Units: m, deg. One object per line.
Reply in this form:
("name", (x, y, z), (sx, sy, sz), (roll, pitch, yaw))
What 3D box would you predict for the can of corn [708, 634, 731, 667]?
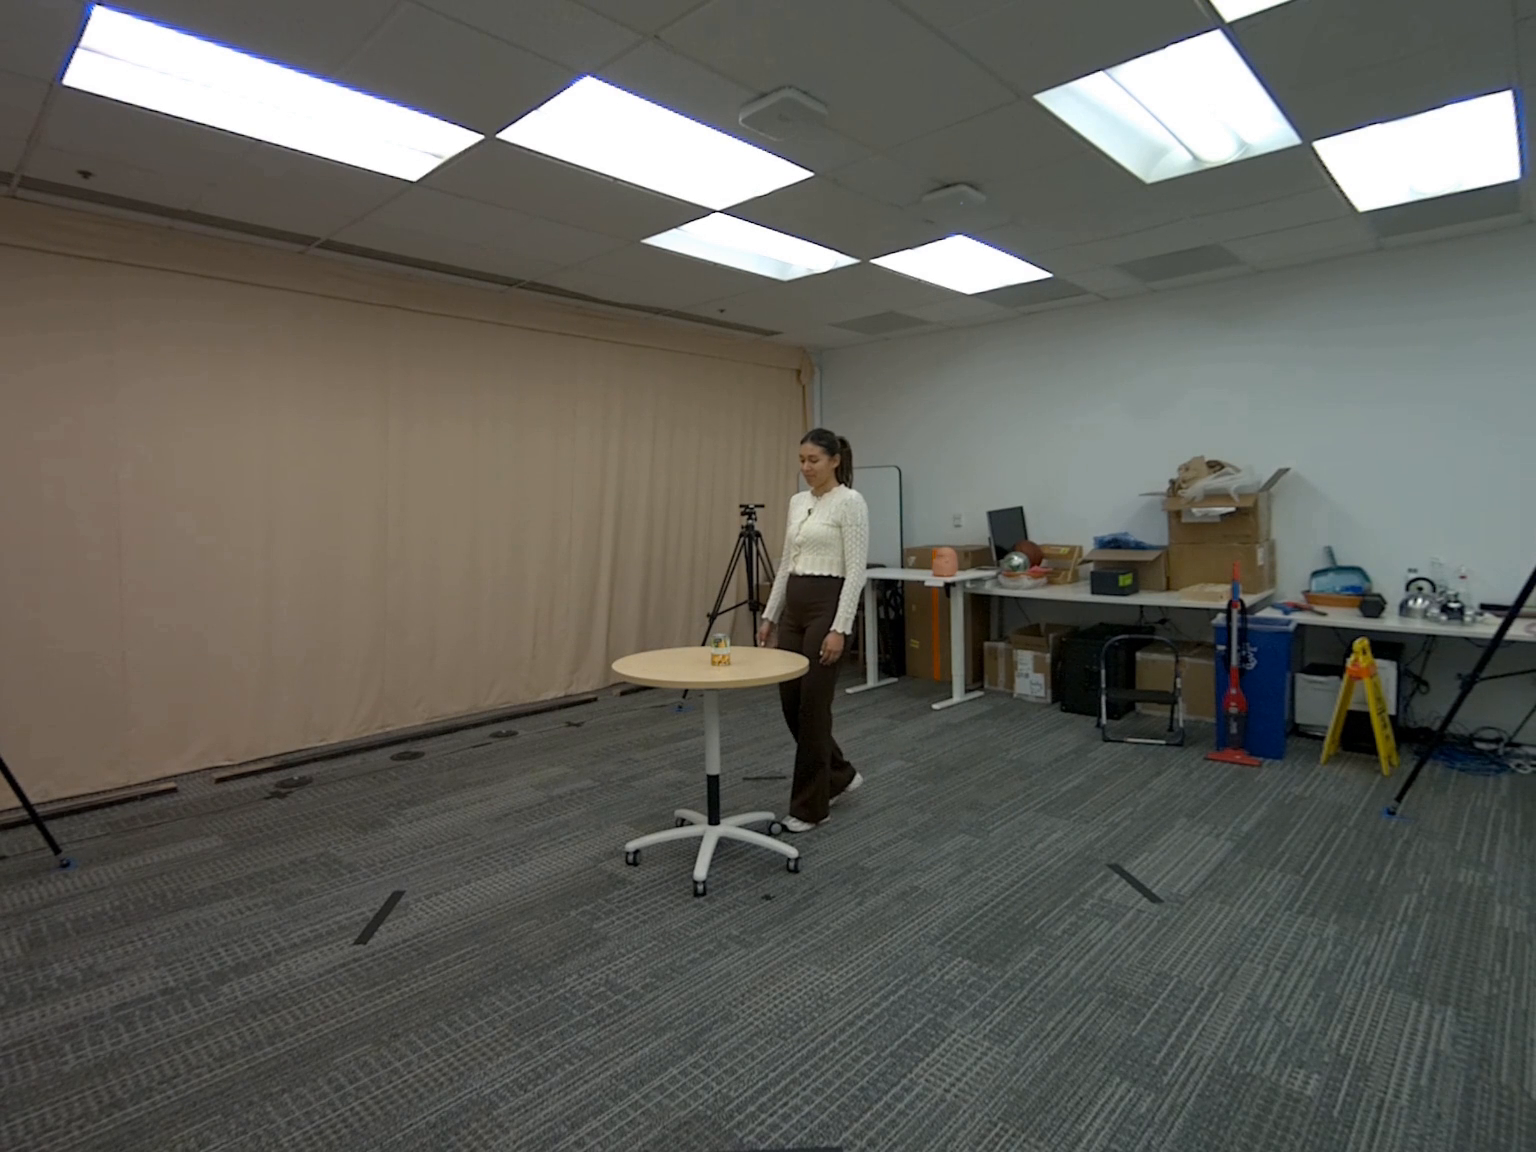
("can of corn", (-0.178, 0.282, 3.226), (0.074, 0.111, 0.074), (-1, 2, -2))
